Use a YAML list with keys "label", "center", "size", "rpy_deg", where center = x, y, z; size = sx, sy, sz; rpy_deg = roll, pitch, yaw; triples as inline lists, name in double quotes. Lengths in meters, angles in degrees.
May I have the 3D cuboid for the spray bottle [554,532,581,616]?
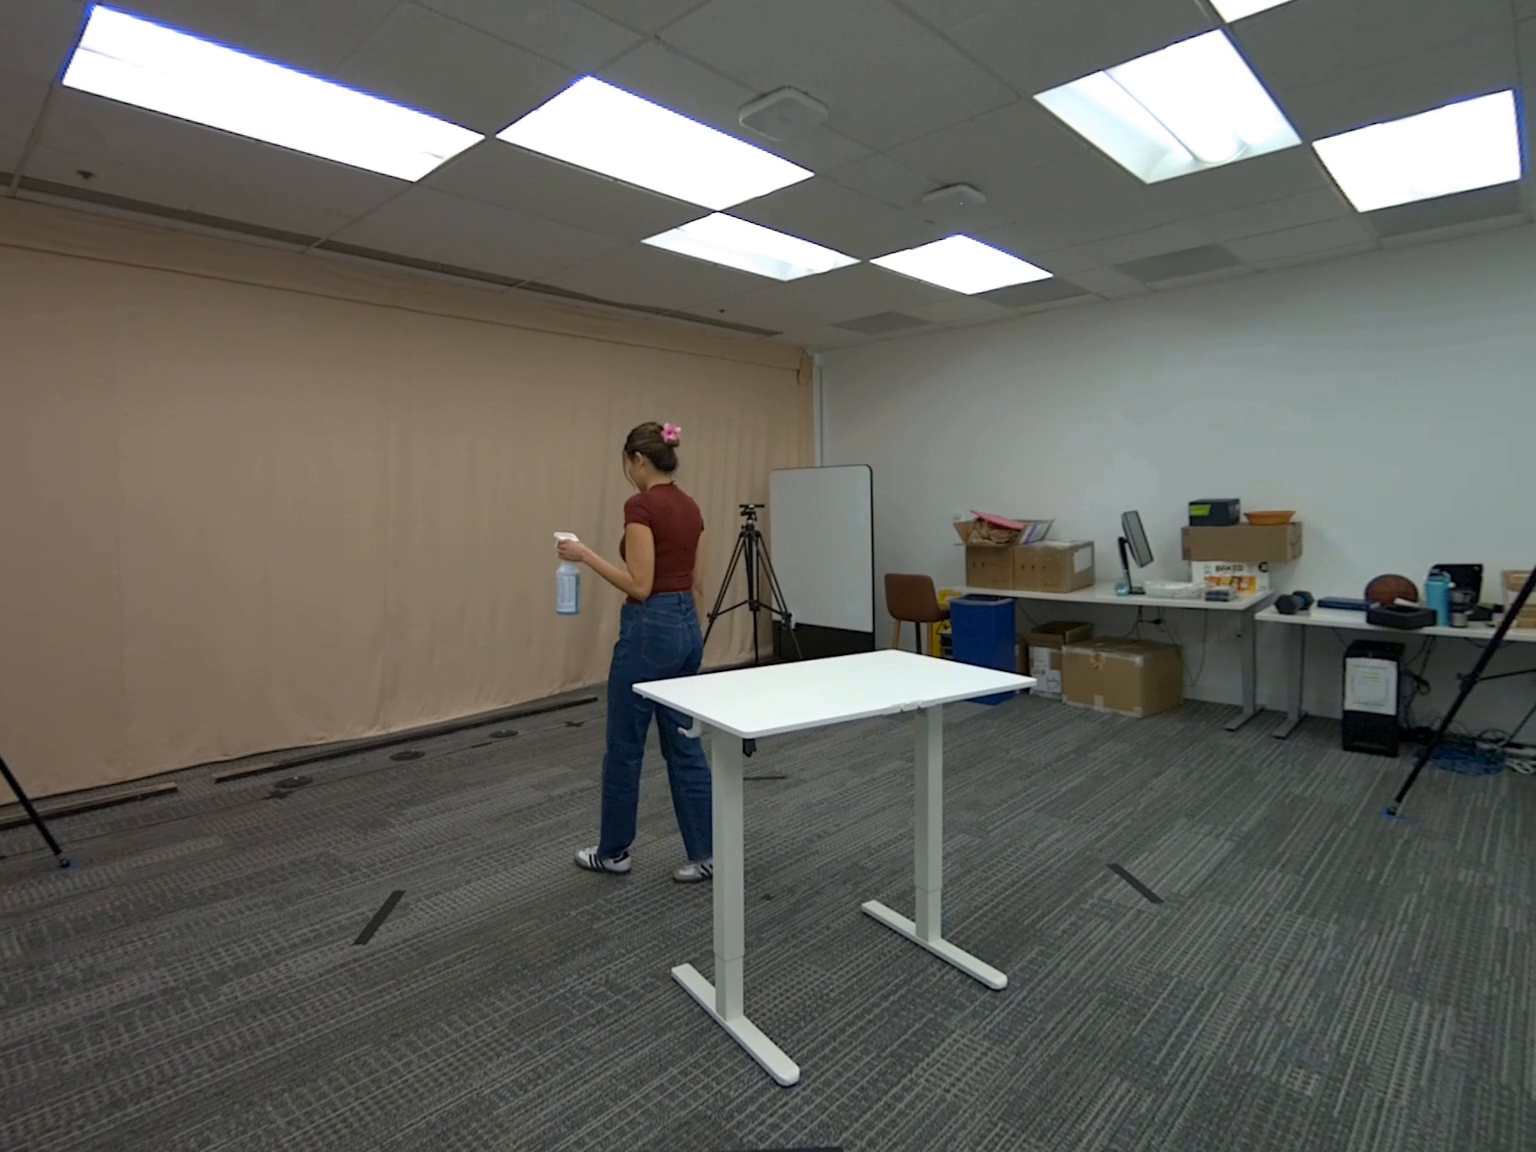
- label: "spray bottle"
  center: [-0.726, -0.006, 3.060]
  size: [0.093, 0.297, 0.084]
  rpy_deg: [3, 3, 31]
